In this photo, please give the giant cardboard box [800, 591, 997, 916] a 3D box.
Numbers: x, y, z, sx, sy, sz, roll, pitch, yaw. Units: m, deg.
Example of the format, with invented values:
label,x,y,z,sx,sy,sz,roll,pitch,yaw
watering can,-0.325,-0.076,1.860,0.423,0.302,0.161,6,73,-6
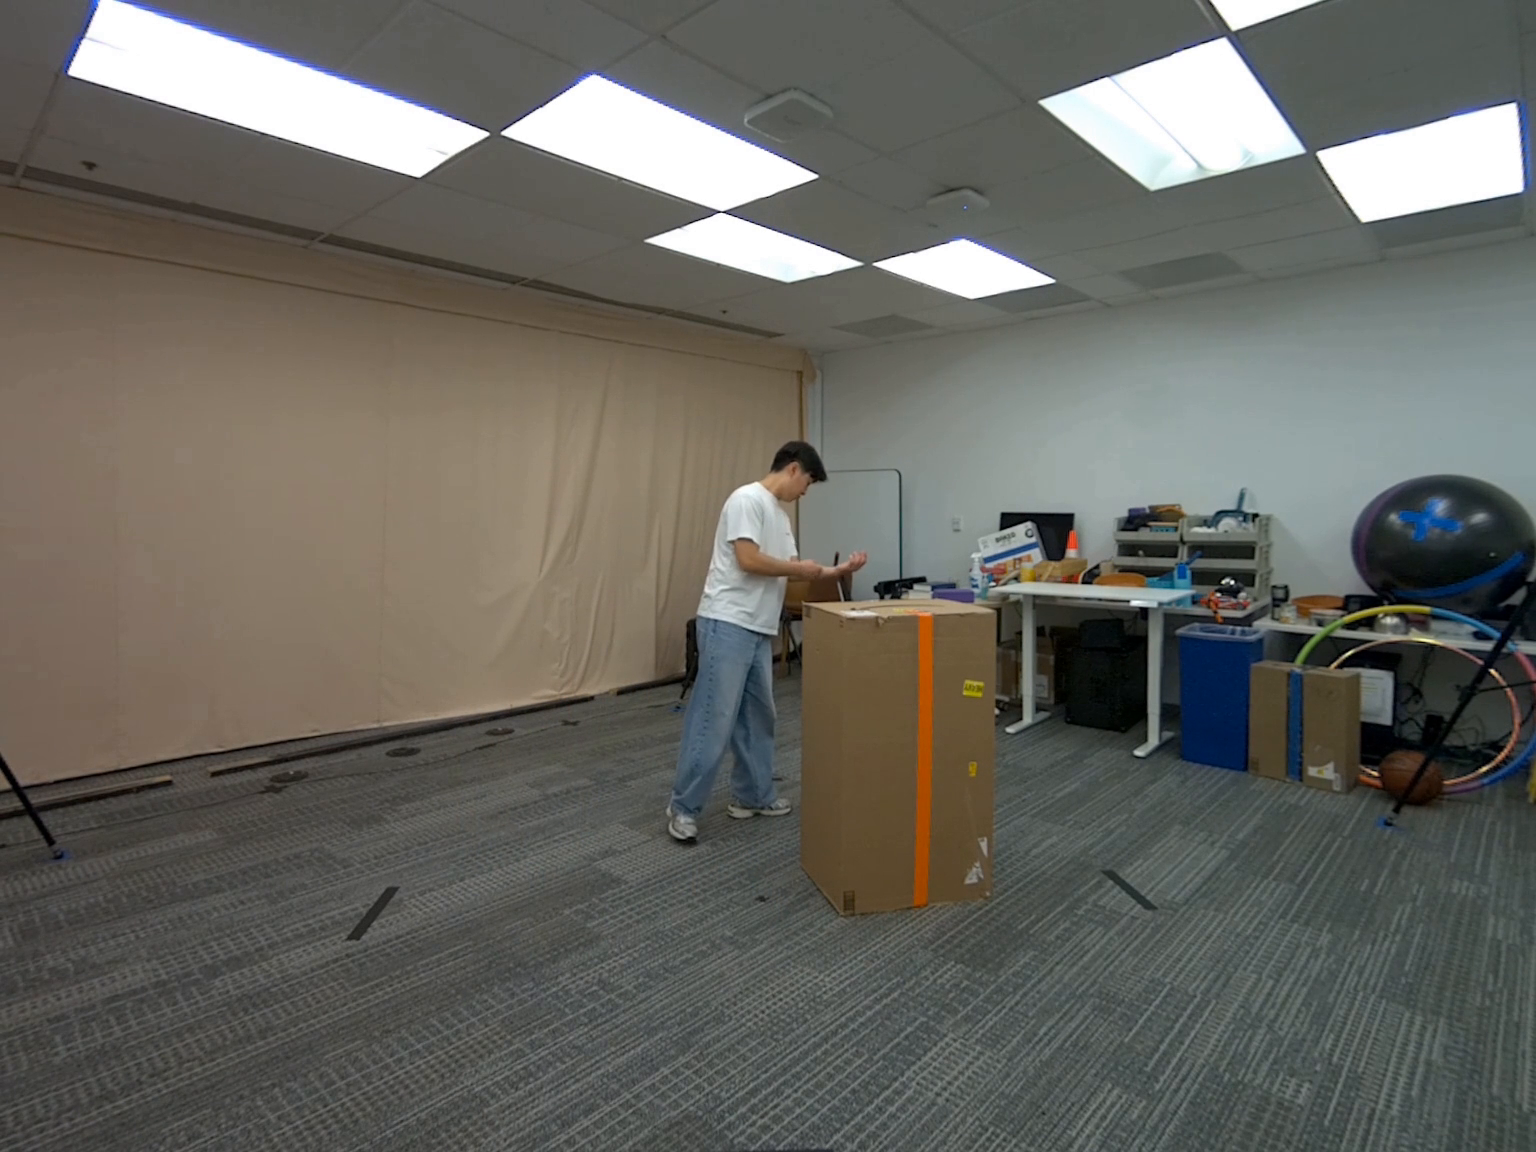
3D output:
label,x,y,z,sx,sy,sz,roll,pitch,yaw
giant cardboard box,0.468,0.623,3.094,0.567,1.024,0.434,-1,3,-17
